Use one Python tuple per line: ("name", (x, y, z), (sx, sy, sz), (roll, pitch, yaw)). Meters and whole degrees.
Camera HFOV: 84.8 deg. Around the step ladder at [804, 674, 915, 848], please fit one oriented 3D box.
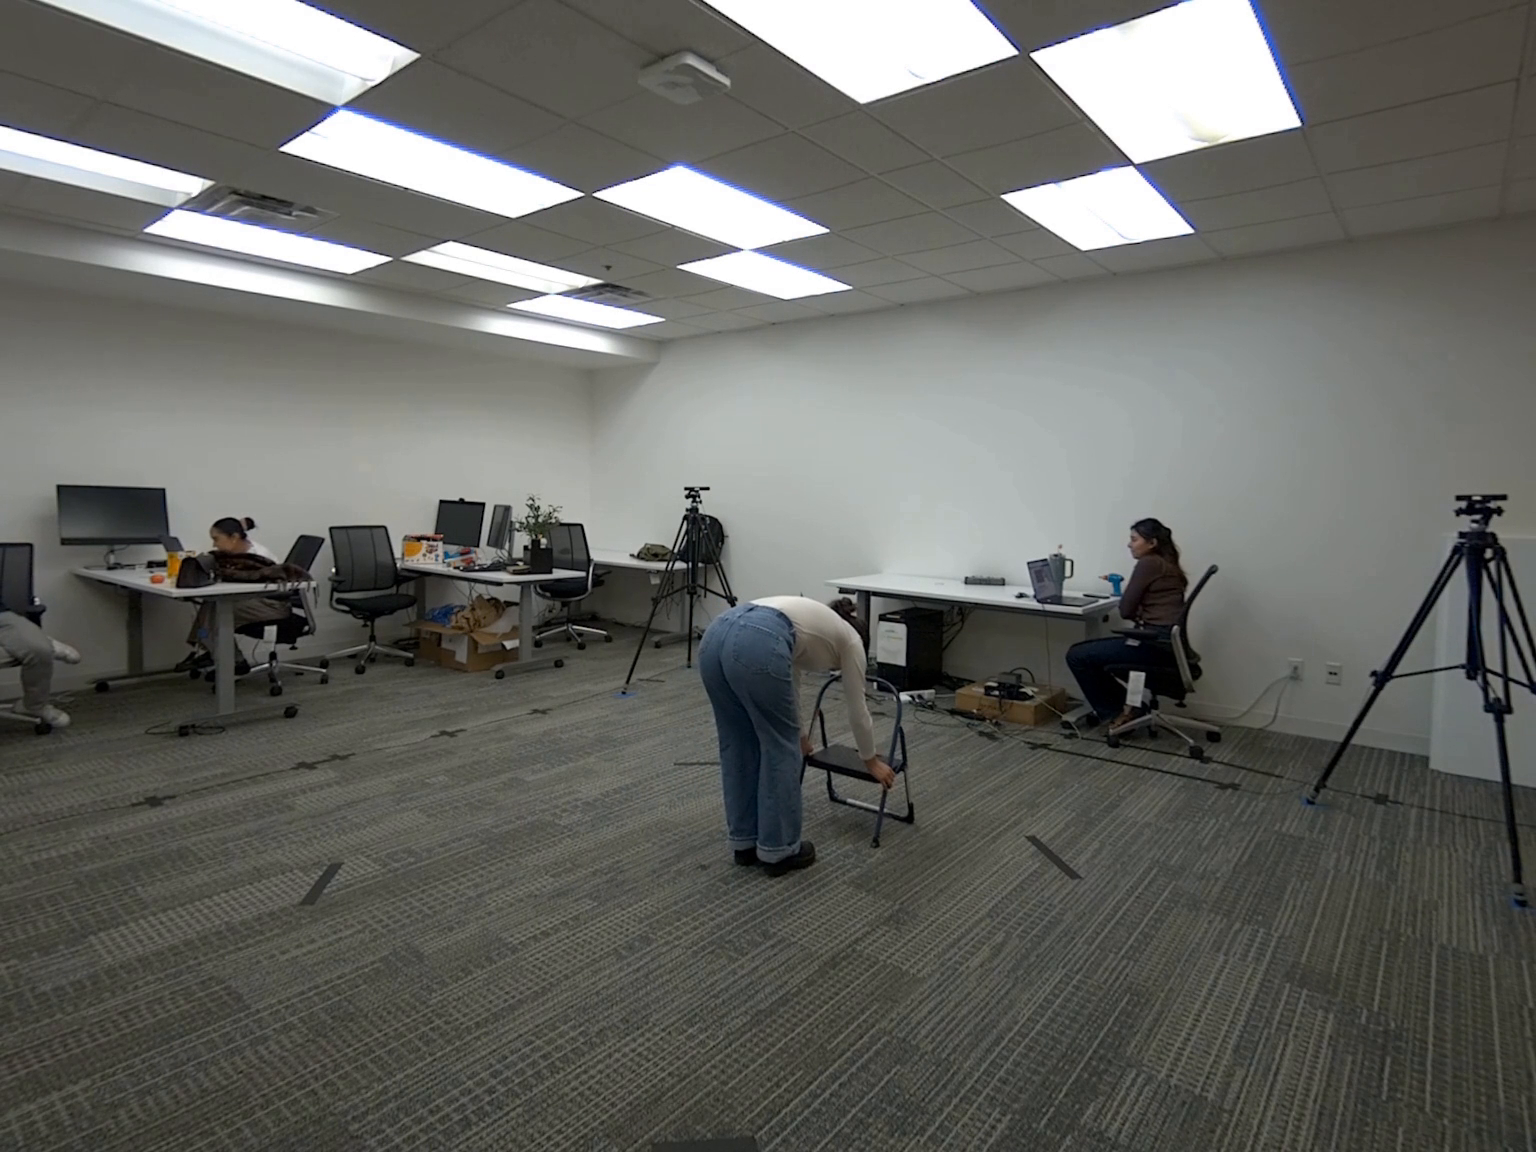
("step ladder", (0.354, 0.725, 3.568), (0.445, 0.604, 0.339), (3, 4, 37))
